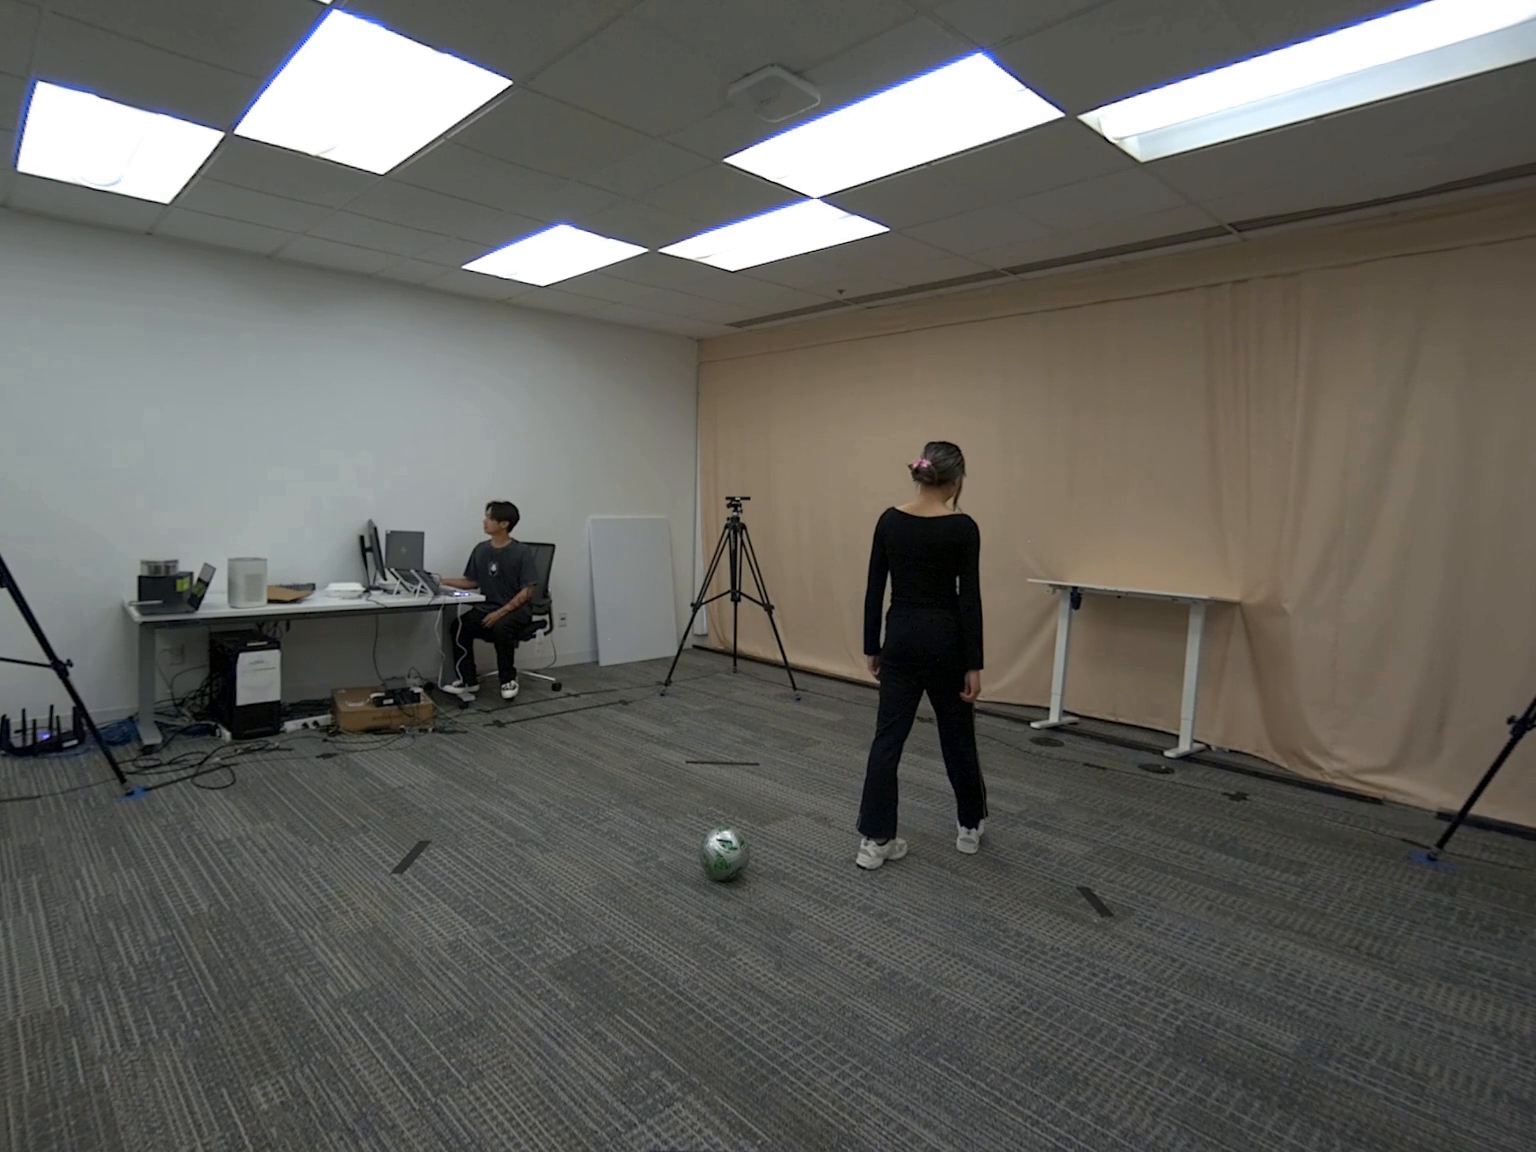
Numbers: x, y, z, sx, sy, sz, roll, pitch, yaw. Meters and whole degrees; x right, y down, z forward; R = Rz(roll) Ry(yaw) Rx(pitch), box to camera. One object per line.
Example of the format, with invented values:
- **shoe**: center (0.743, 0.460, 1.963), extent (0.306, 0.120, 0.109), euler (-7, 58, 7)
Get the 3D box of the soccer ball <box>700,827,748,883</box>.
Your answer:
- **soccer ball**: center (-0.166, 1.012, 3.079), extent (0.187, 0.187, 0.188), euler (1, 4, -1)
